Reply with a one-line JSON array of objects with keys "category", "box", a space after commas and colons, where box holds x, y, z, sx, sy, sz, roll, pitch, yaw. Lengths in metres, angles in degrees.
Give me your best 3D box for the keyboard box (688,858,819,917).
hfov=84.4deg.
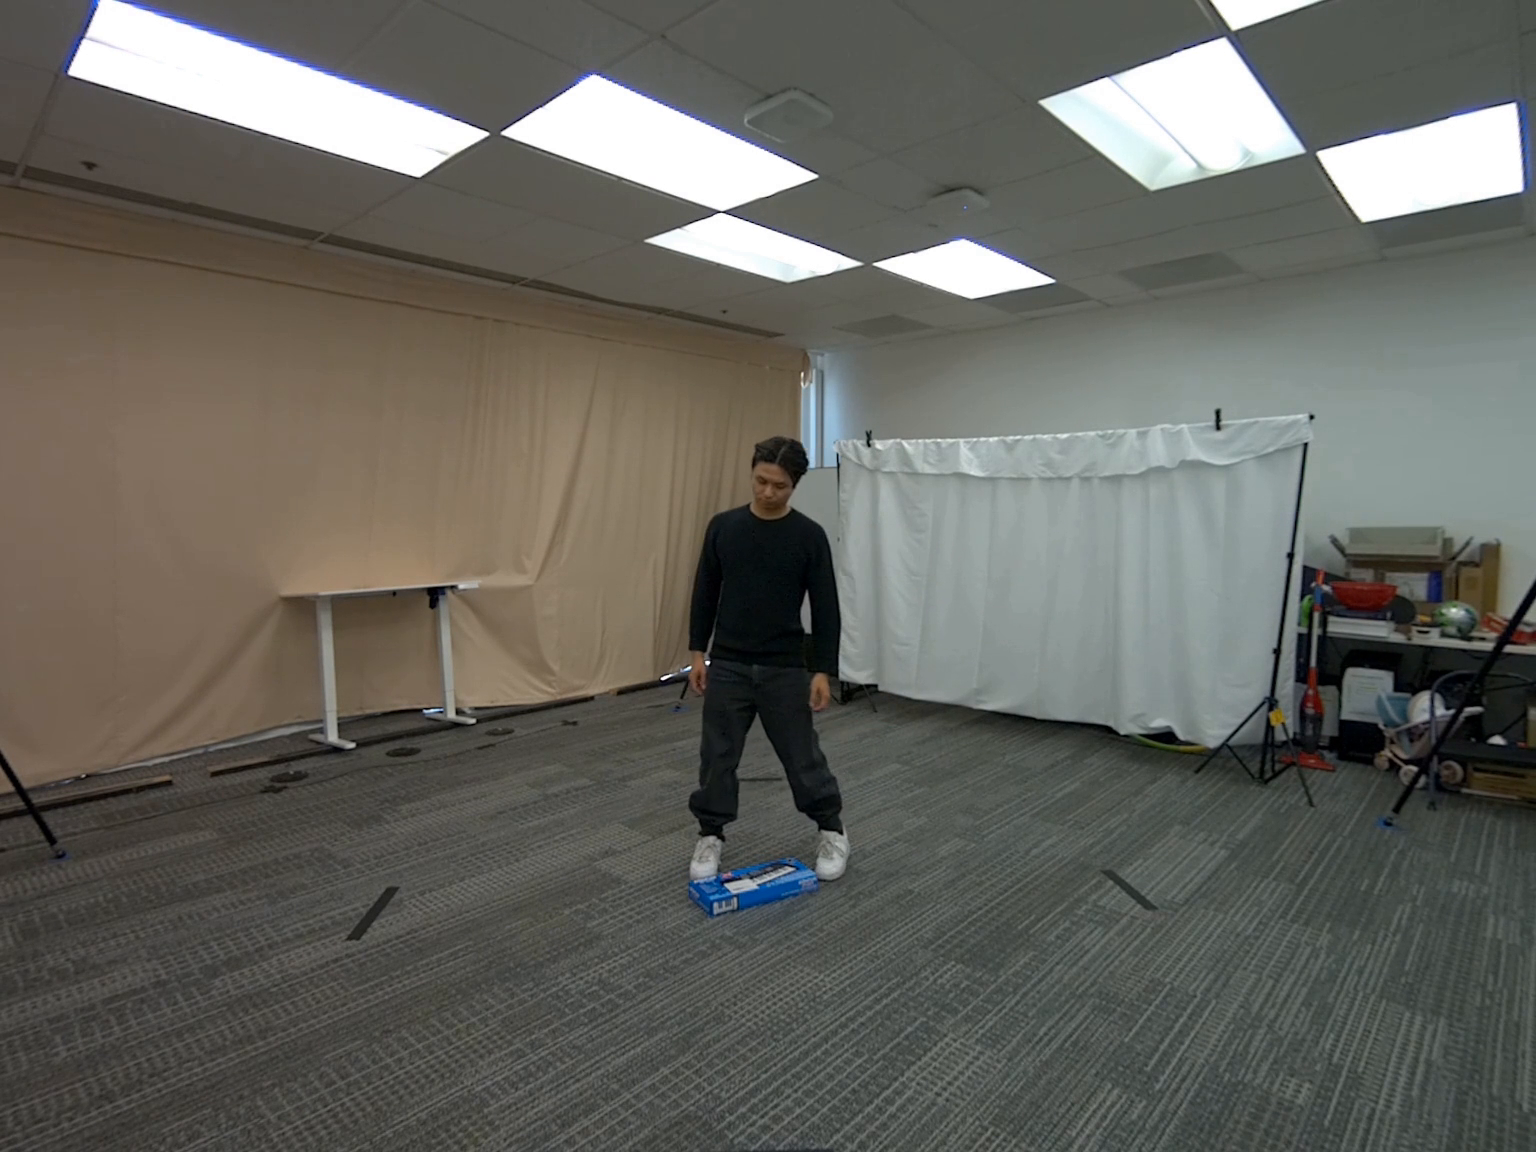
[{"category": "keyboard box", "box": [-0.046, 1.111, 3.018, 0.426, 0.059, 0.181, -3, 5, -28]}]
